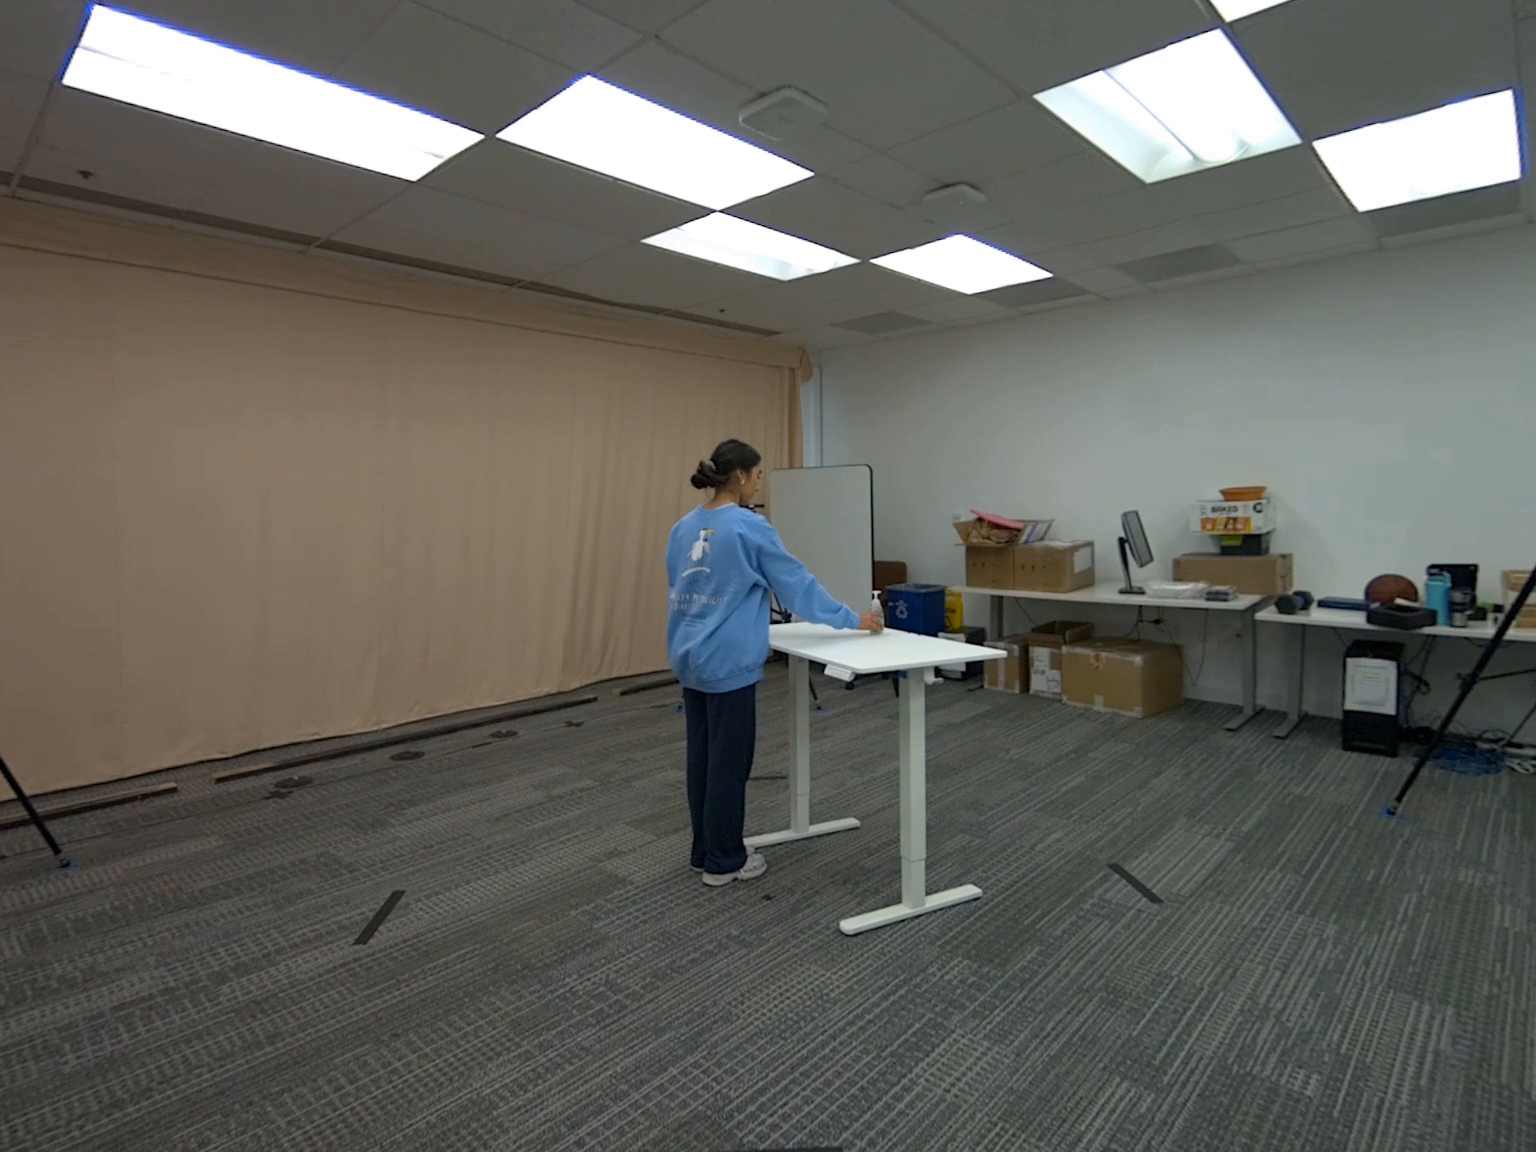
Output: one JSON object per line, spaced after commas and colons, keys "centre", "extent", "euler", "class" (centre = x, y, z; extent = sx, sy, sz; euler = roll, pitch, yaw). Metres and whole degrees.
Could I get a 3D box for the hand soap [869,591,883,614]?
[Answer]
{"centre": [0.429, 0.141, 3.272], "extent": [0.045, 0.168, 0.082], "euler": [2, 4, 41], "class": "hand soap"}
